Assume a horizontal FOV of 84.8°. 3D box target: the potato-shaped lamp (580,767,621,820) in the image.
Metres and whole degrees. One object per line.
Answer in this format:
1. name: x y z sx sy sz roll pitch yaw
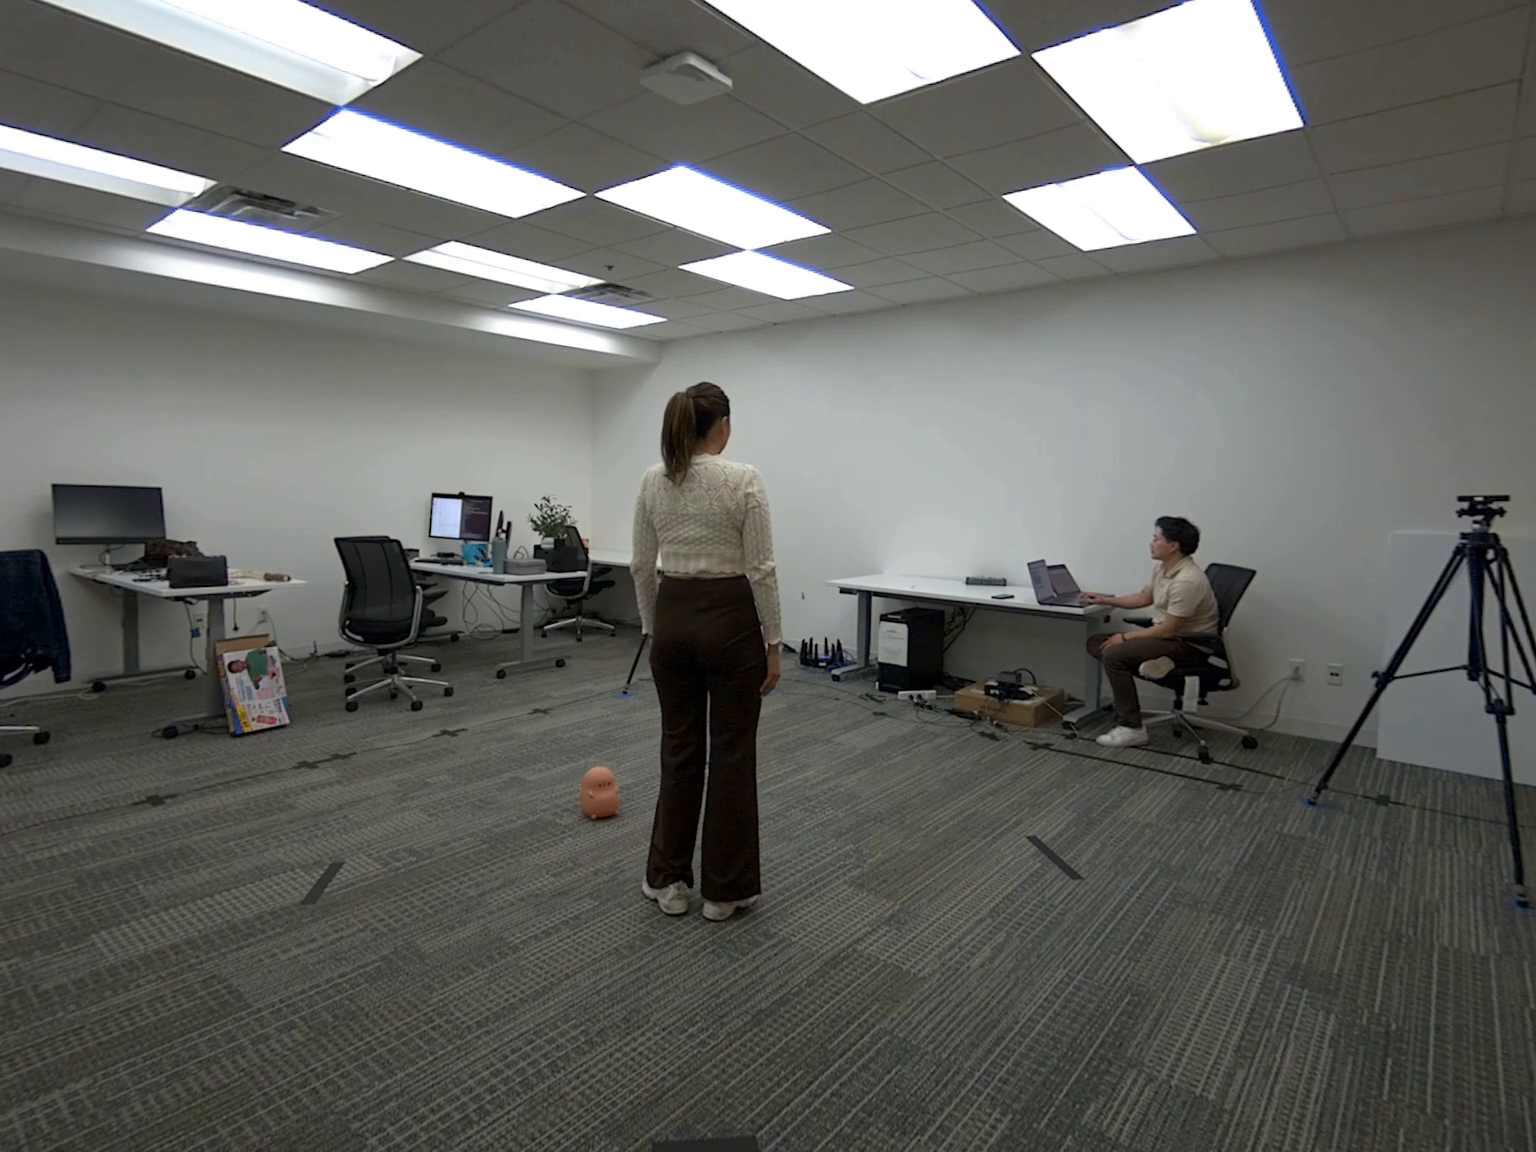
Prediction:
1. potato-shaped lamp: -0.726 0.910 3.618 0.161 0.198 0.176 -2 3 -26
